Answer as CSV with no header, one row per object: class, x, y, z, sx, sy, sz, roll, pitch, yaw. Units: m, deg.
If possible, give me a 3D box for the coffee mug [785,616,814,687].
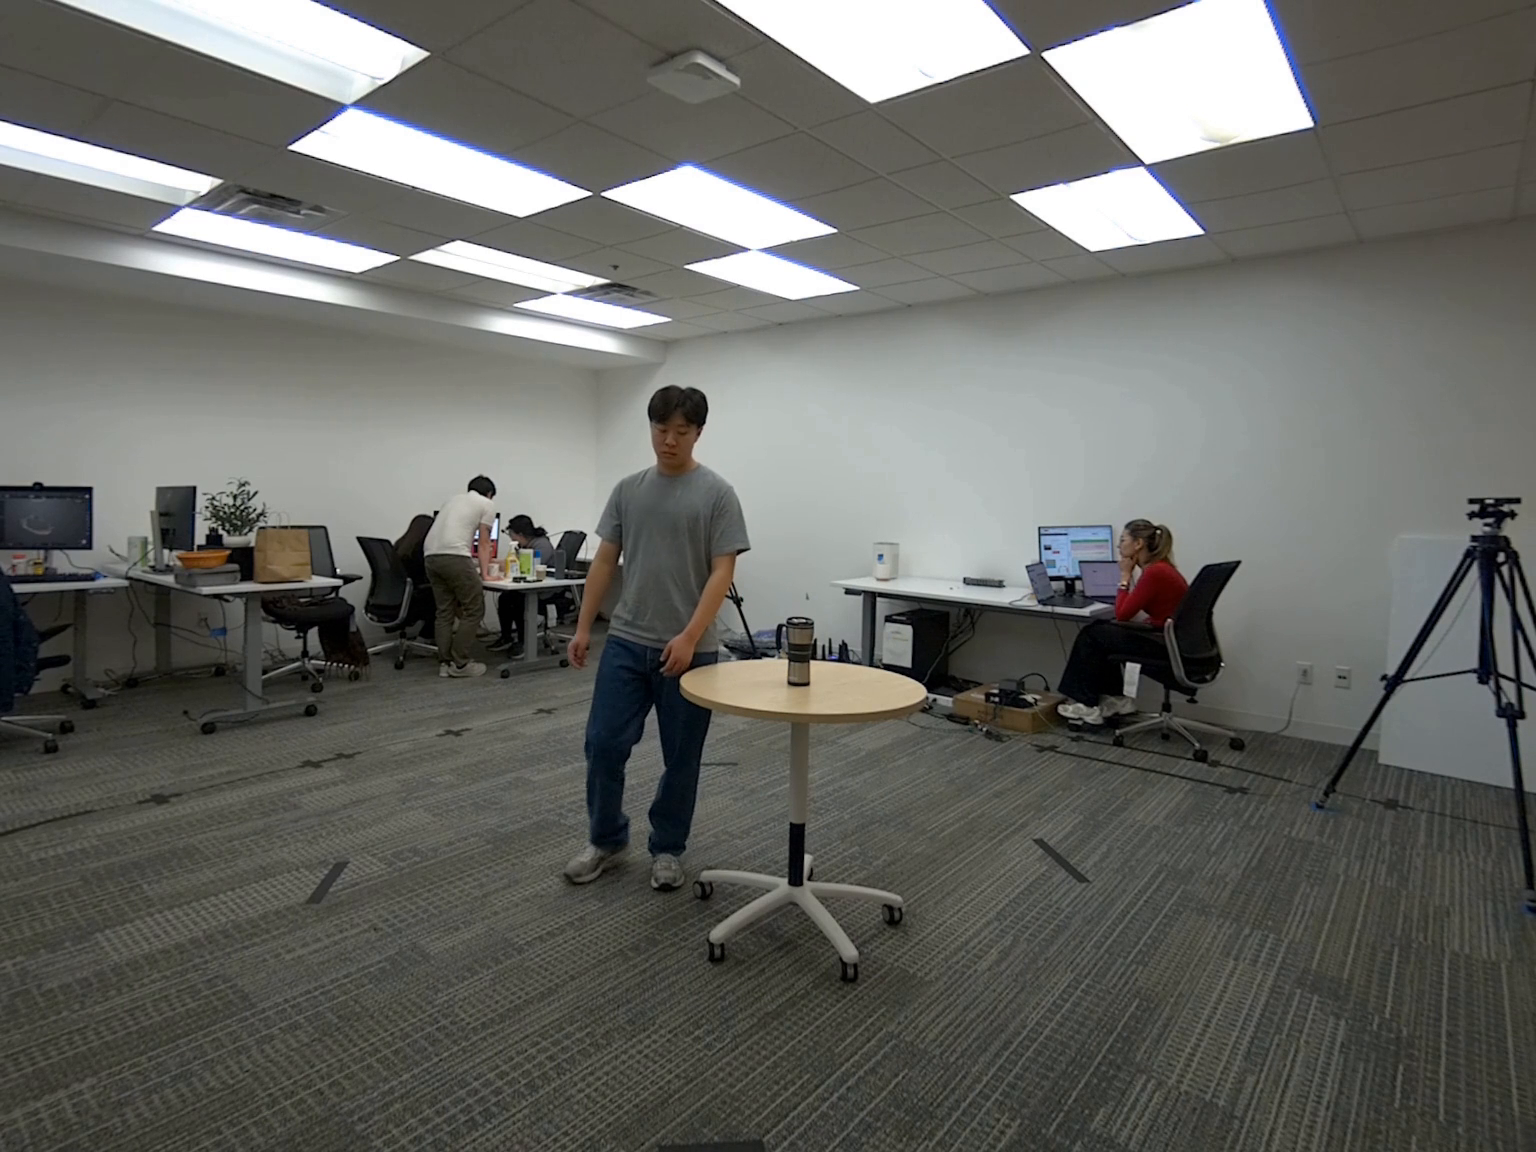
coffee mug,0.083,0.232,2.658,0.086,0.201,0.126,-4,9,-25
